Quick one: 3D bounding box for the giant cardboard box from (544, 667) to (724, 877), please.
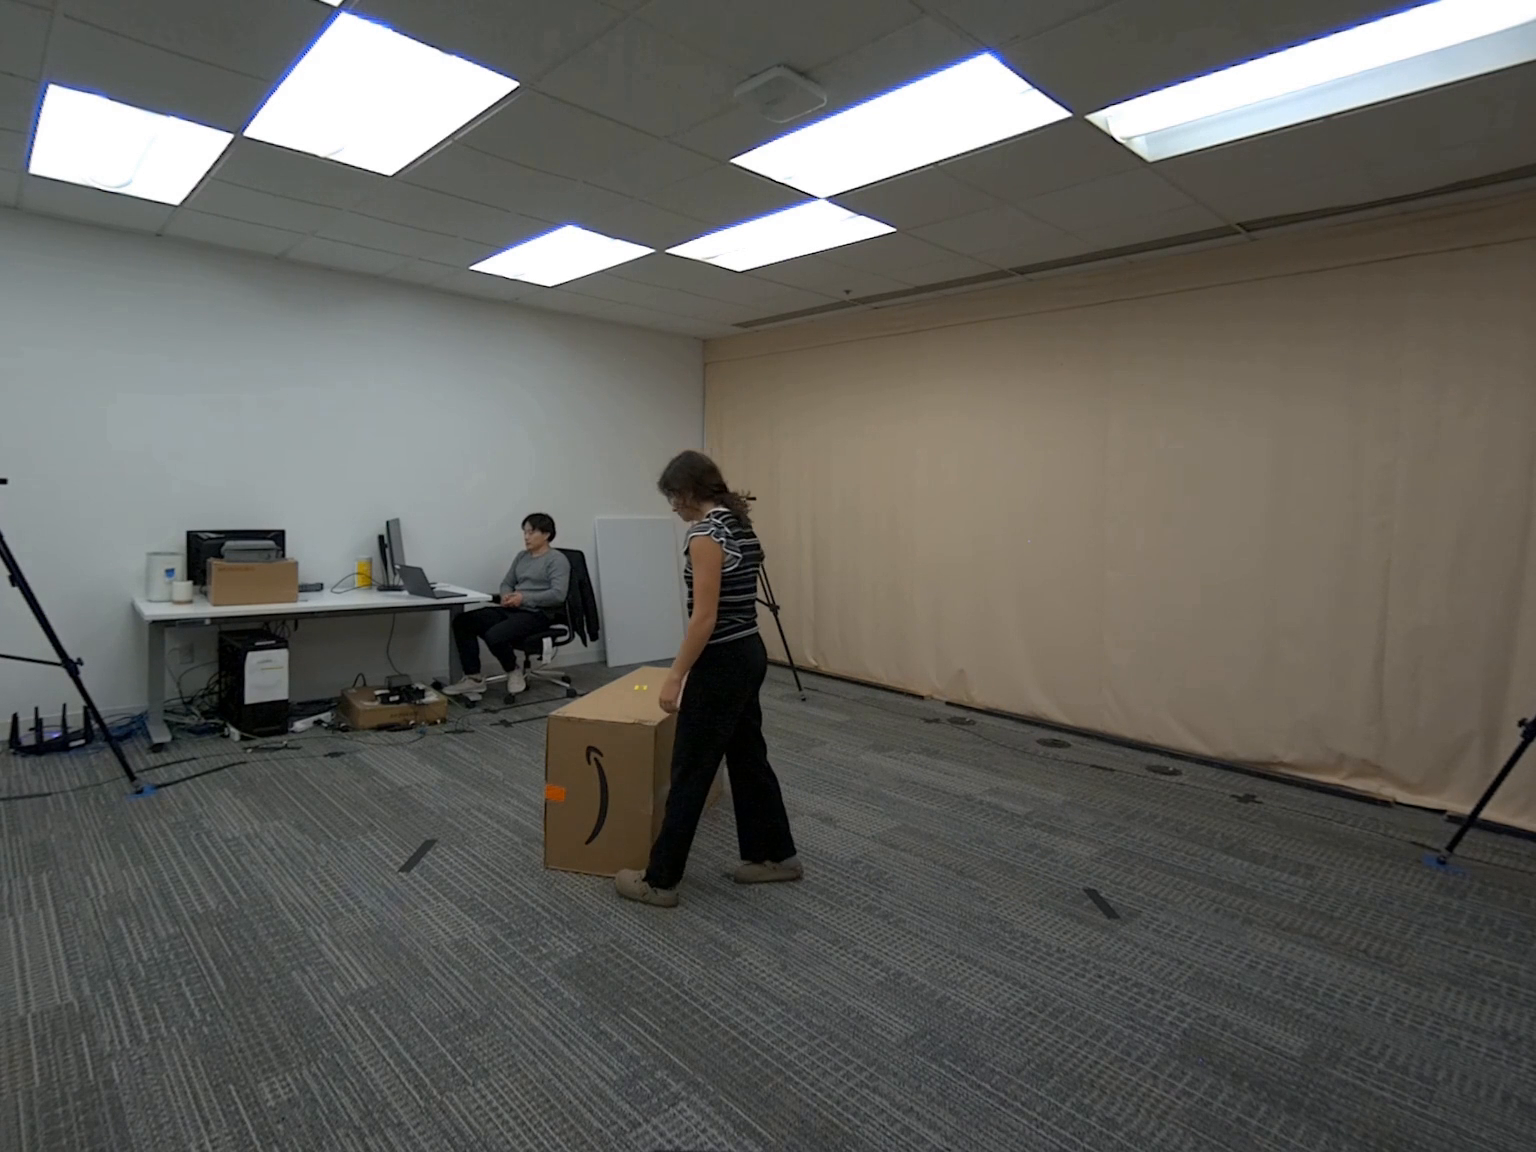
[{"bbox_3d":[-0.529,0.765,3.566,0.431,0.576,1.017,2,5,12],"label":"giant cardboard box"}]
